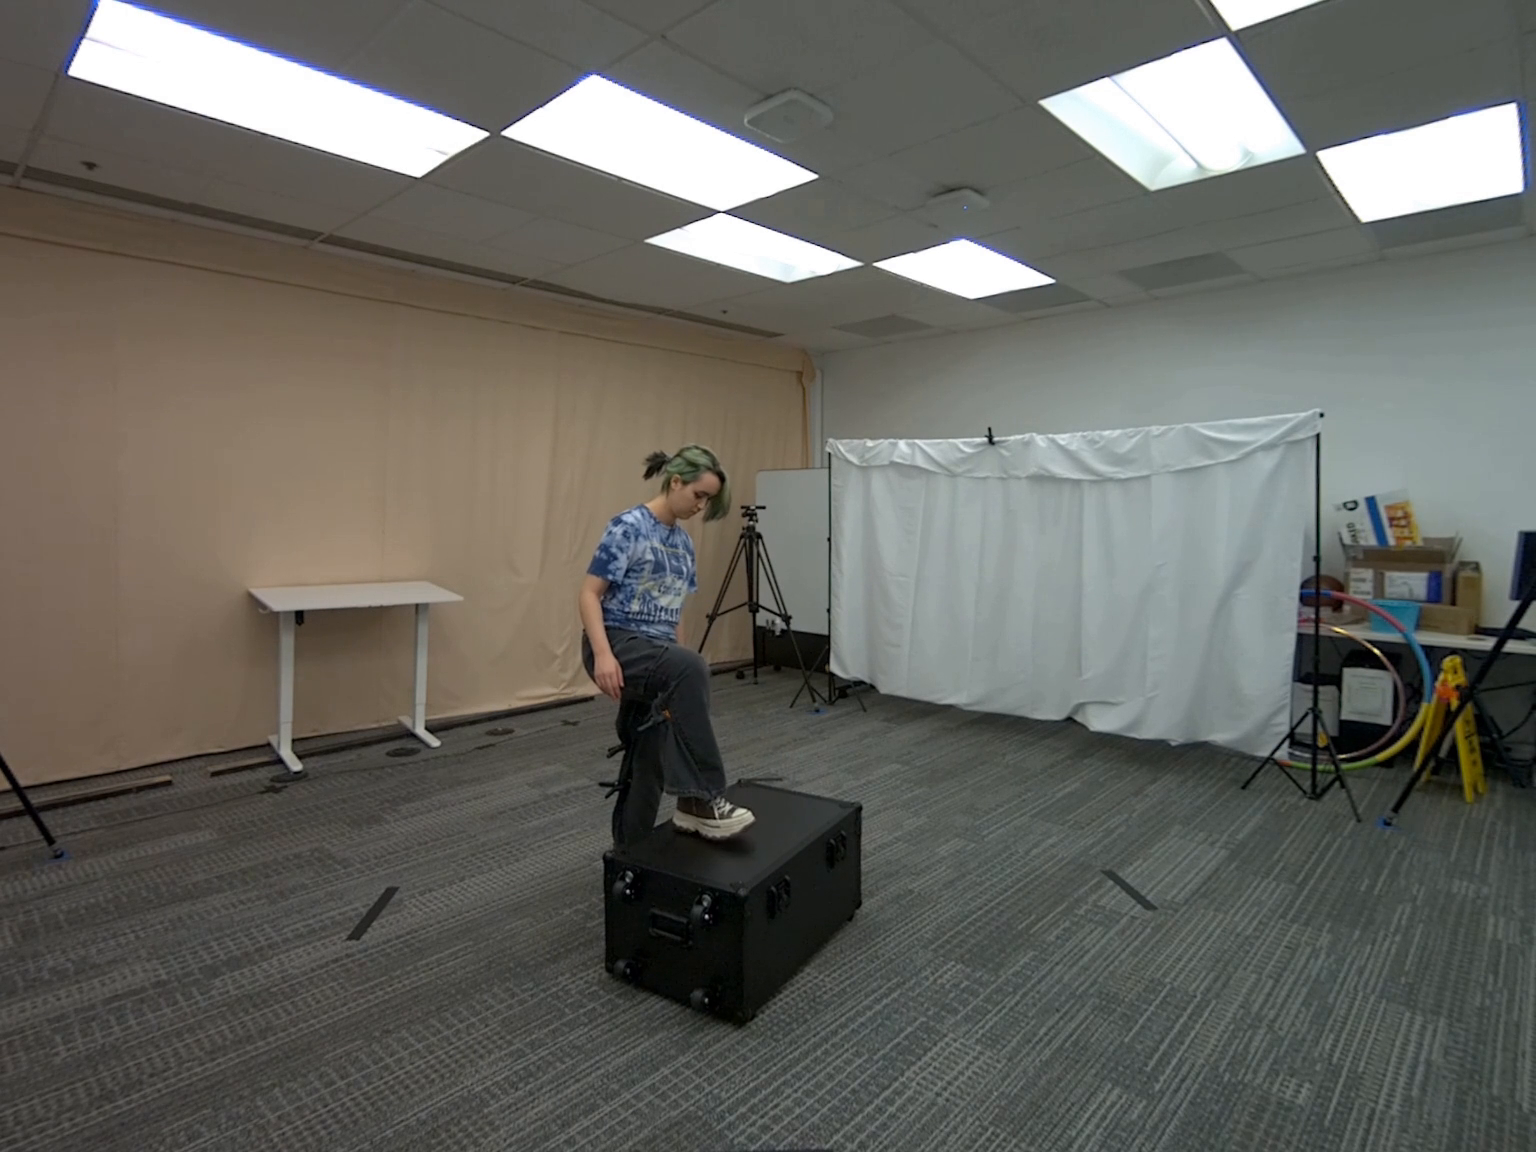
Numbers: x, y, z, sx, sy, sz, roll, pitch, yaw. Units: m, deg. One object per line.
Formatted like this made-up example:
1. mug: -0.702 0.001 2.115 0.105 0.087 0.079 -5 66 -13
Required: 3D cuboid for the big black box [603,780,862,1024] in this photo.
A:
1. big black box: -0.094 0.983 2.638 0.537 0.395 0.838 2 5 31
